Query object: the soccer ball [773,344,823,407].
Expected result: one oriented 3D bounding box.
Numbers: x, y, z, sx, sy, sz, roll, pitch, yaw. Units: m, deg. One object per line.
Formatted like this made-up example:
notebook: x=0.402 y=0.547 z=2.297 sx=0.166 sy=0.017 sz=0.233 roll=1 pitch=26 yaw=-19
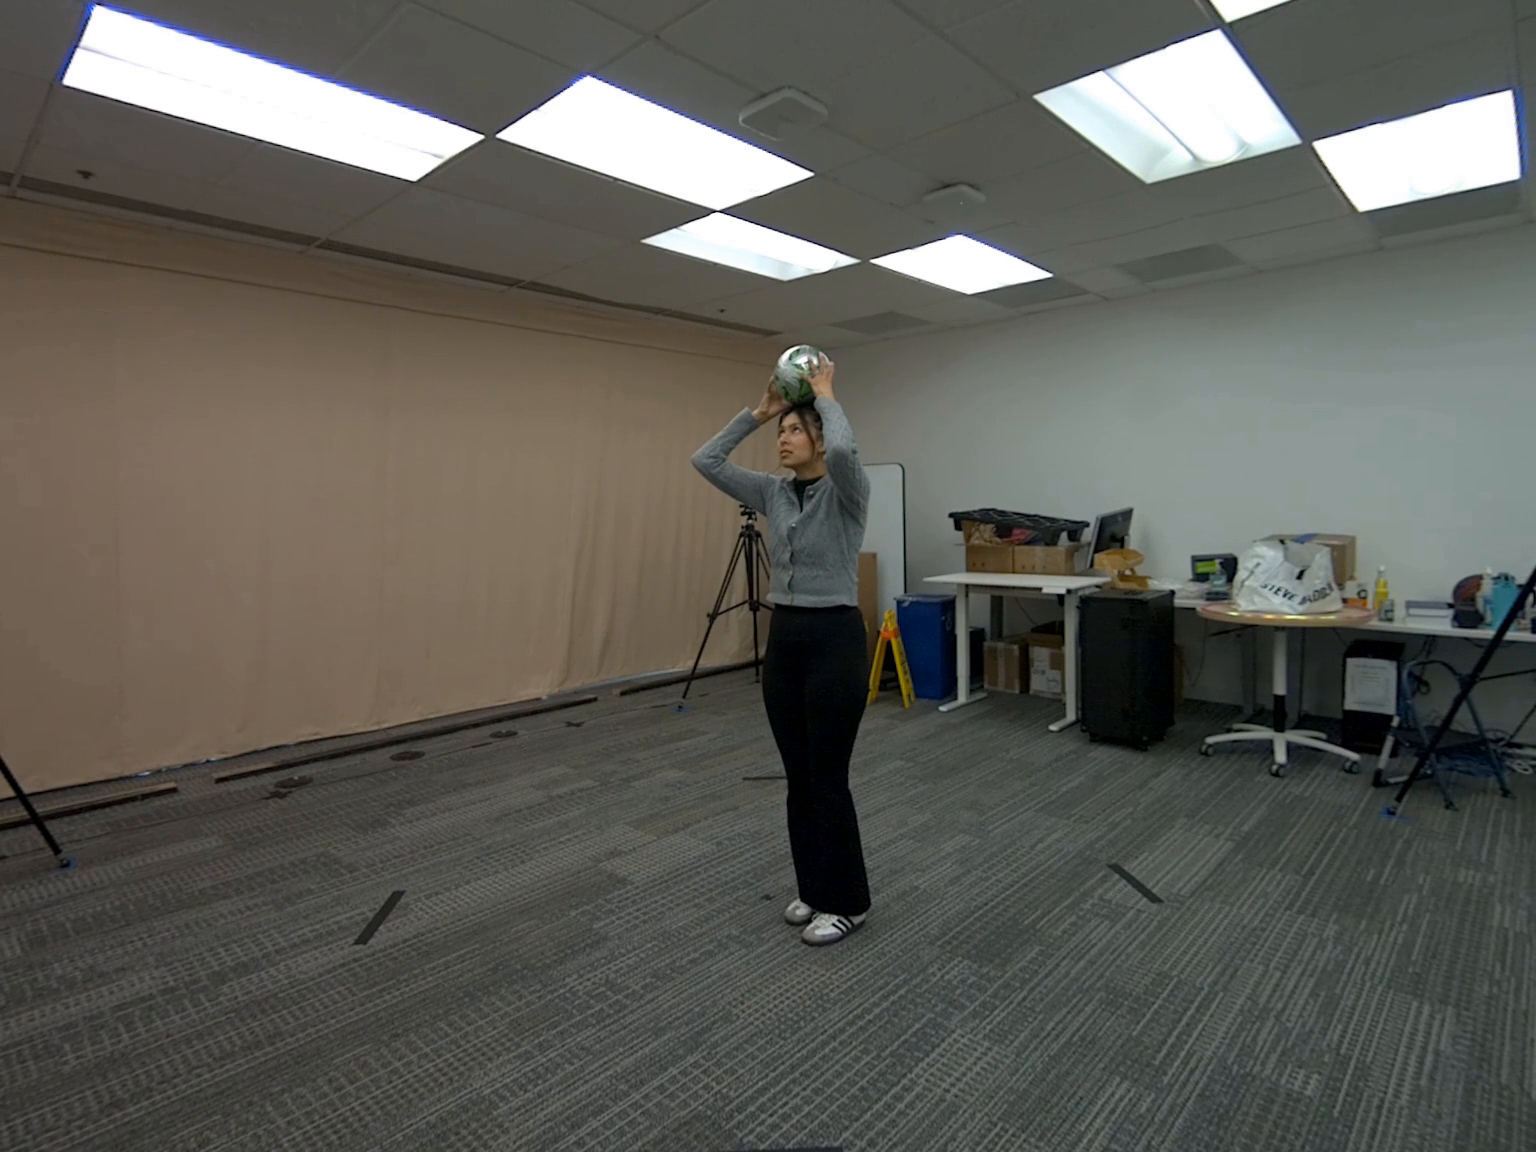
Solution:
soccer ball: x=0.115 y=-0.640 z=2.703 sx=0.187 sy=0.187 sz=0.188 roll=-1 pitch=4 yaw=-2
